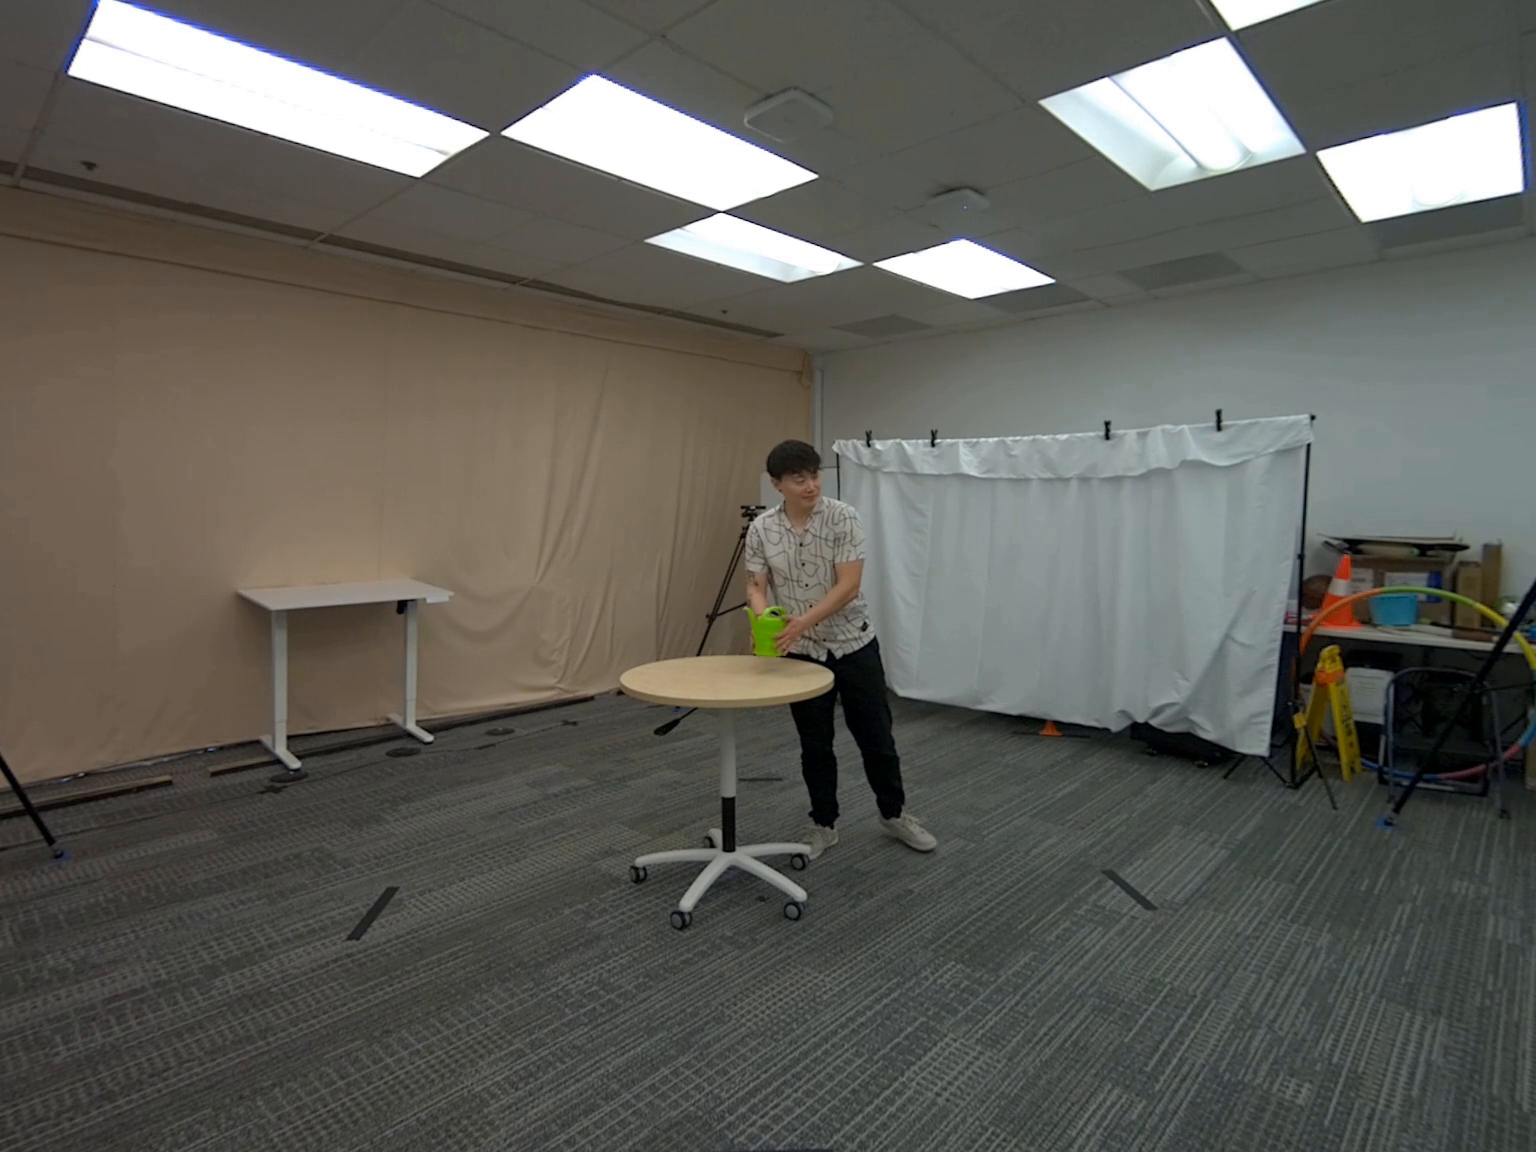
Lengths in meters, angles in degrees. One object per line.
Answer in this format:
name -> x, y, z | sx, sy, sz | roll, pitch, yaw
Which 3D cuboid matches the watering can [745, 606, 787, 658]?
watering can -> -0.018, 0.199, 3.015 | 0.269, 0.176, 0.101 | 4, 3, -41
